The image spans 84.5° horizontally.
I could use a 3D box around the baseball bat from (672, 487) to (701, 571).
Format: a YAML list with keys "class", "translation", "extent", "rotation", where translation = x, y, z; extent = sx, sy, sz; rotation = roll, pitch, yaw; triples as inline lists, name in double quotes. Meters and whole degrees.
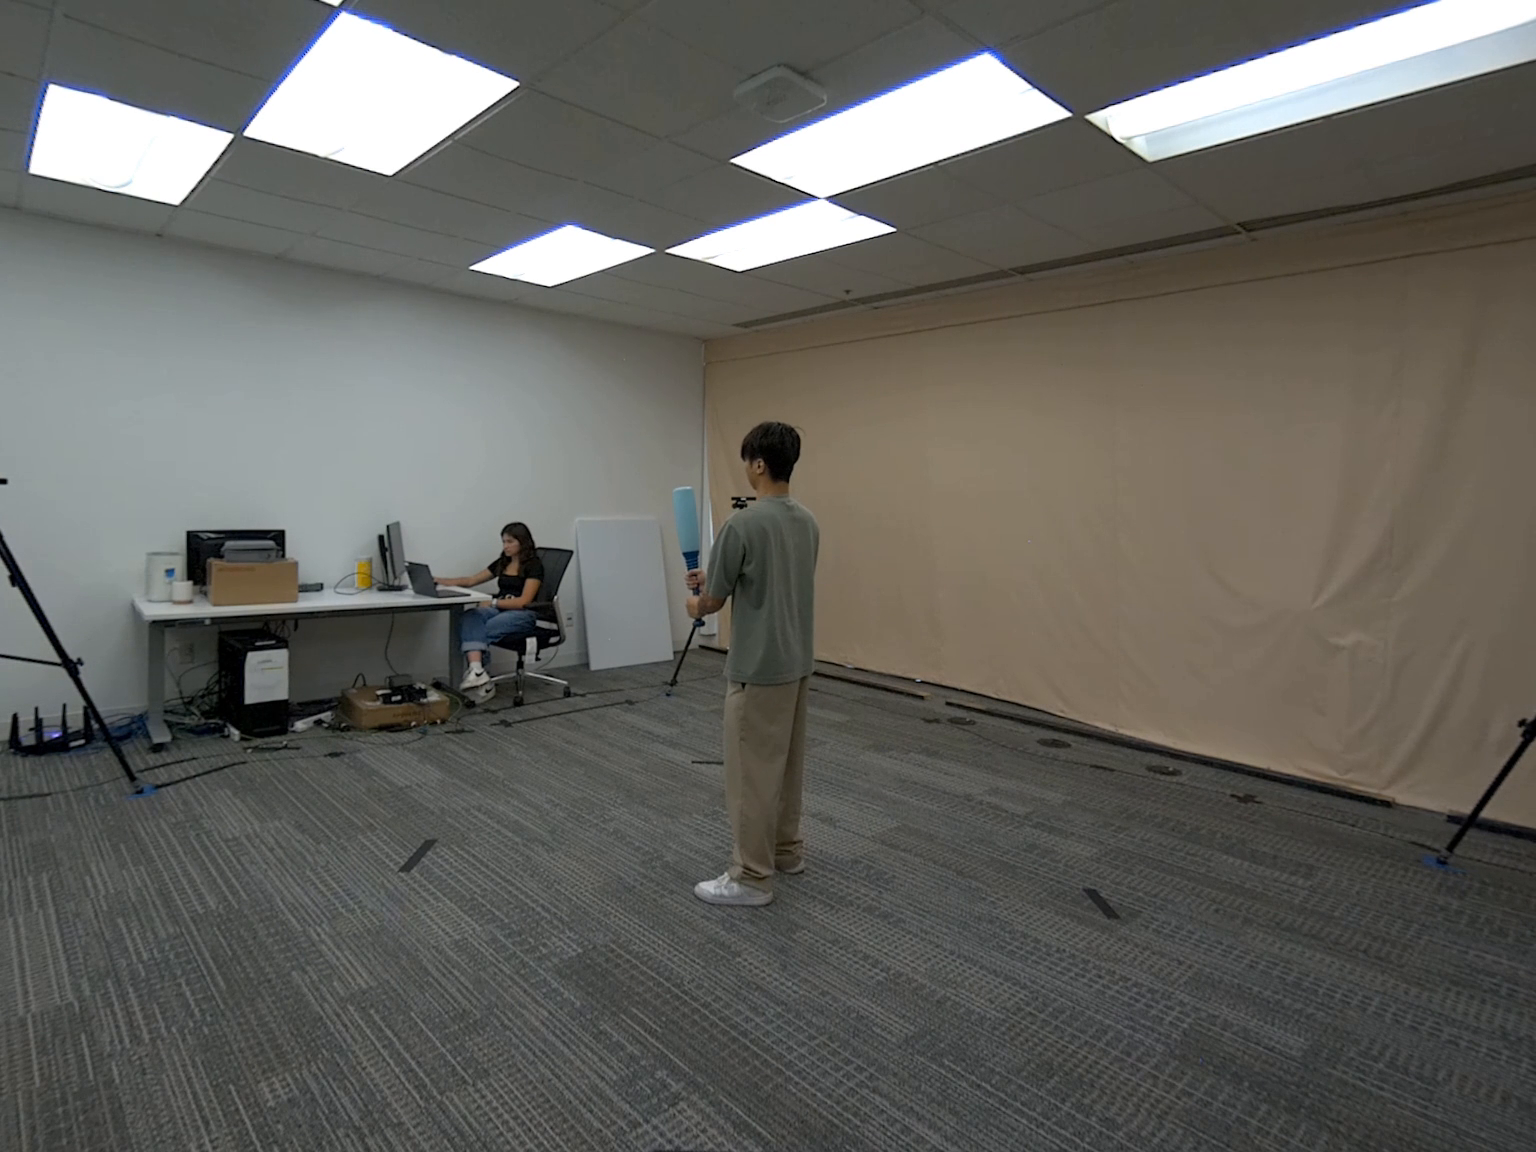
- class: "baseball bat"
  translation: [-0.301, -0.072, 3.265]
  extent: [0.089, 0.543, 0.089]
  rotation: [-7, 0, -1]
